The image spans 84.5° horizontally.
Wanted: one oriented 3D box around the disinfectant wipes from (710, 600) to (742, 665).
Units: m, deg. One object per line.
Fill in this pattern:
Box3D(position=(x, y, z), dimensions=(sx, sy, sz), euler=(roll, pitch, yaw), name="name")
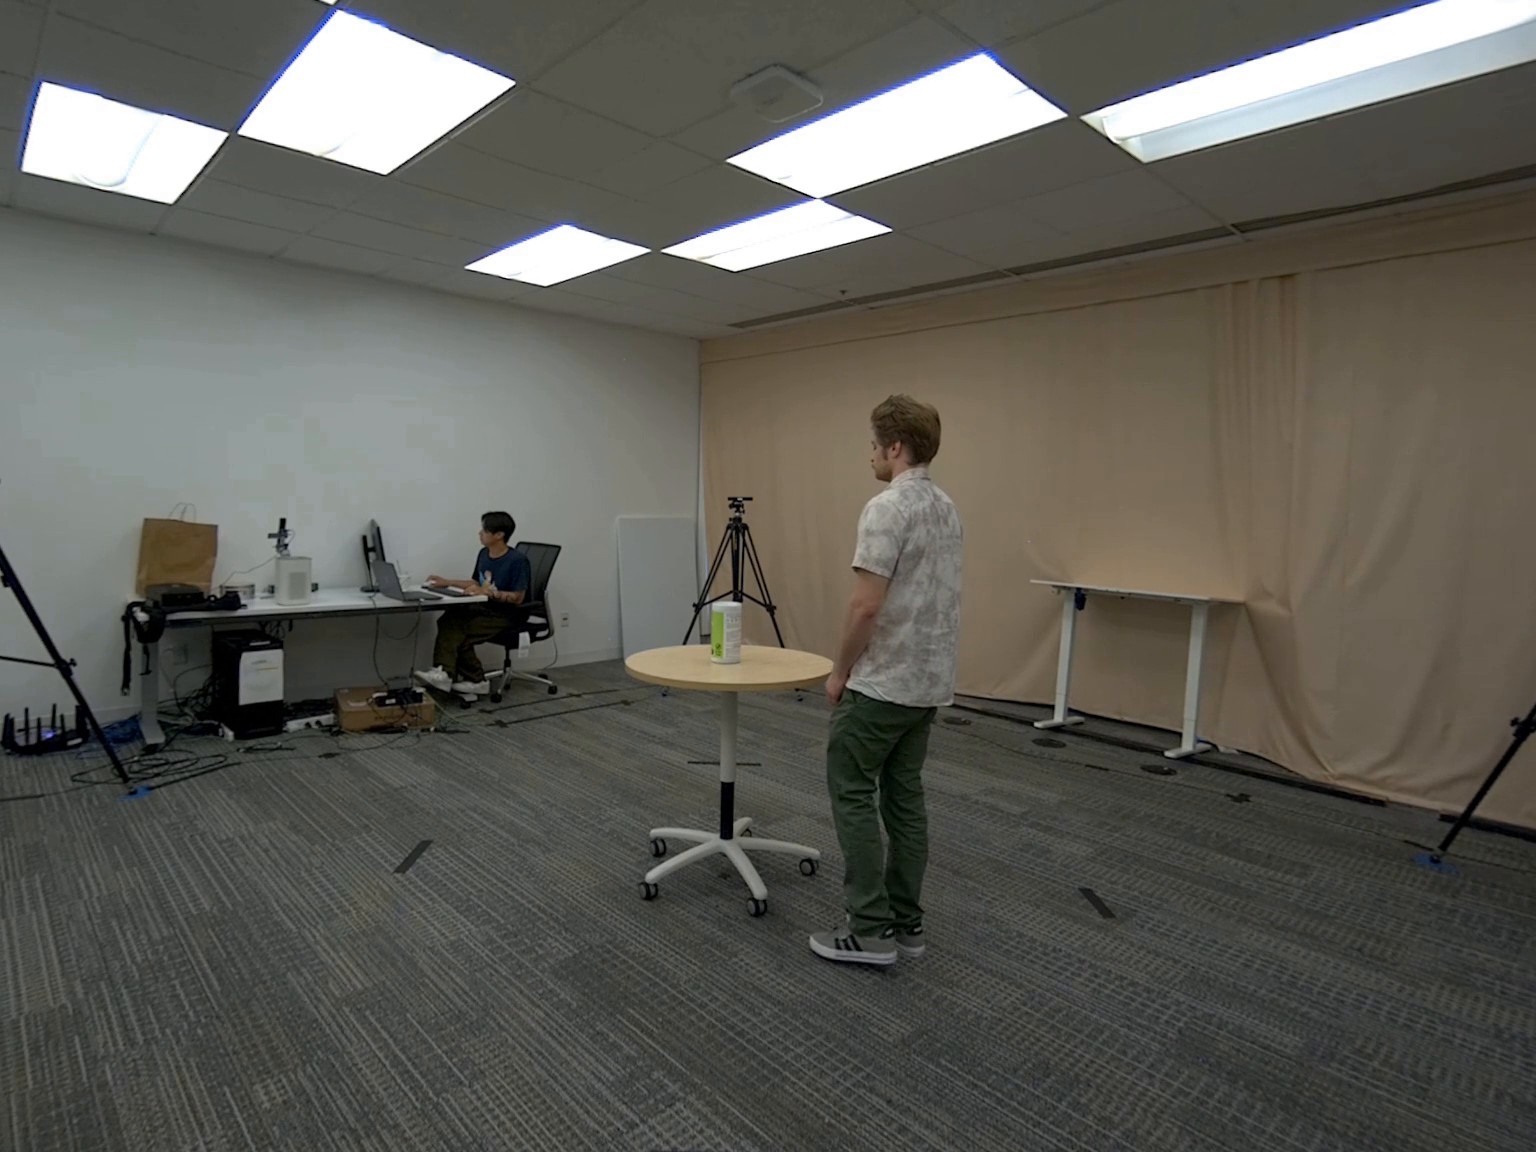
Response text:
Box3D(position=(-0.154, 0.208, 3.075), dimensions=(0.118, 0.217, 0.118), euler=(1, 3, -1), name="disinfectant wipes")
